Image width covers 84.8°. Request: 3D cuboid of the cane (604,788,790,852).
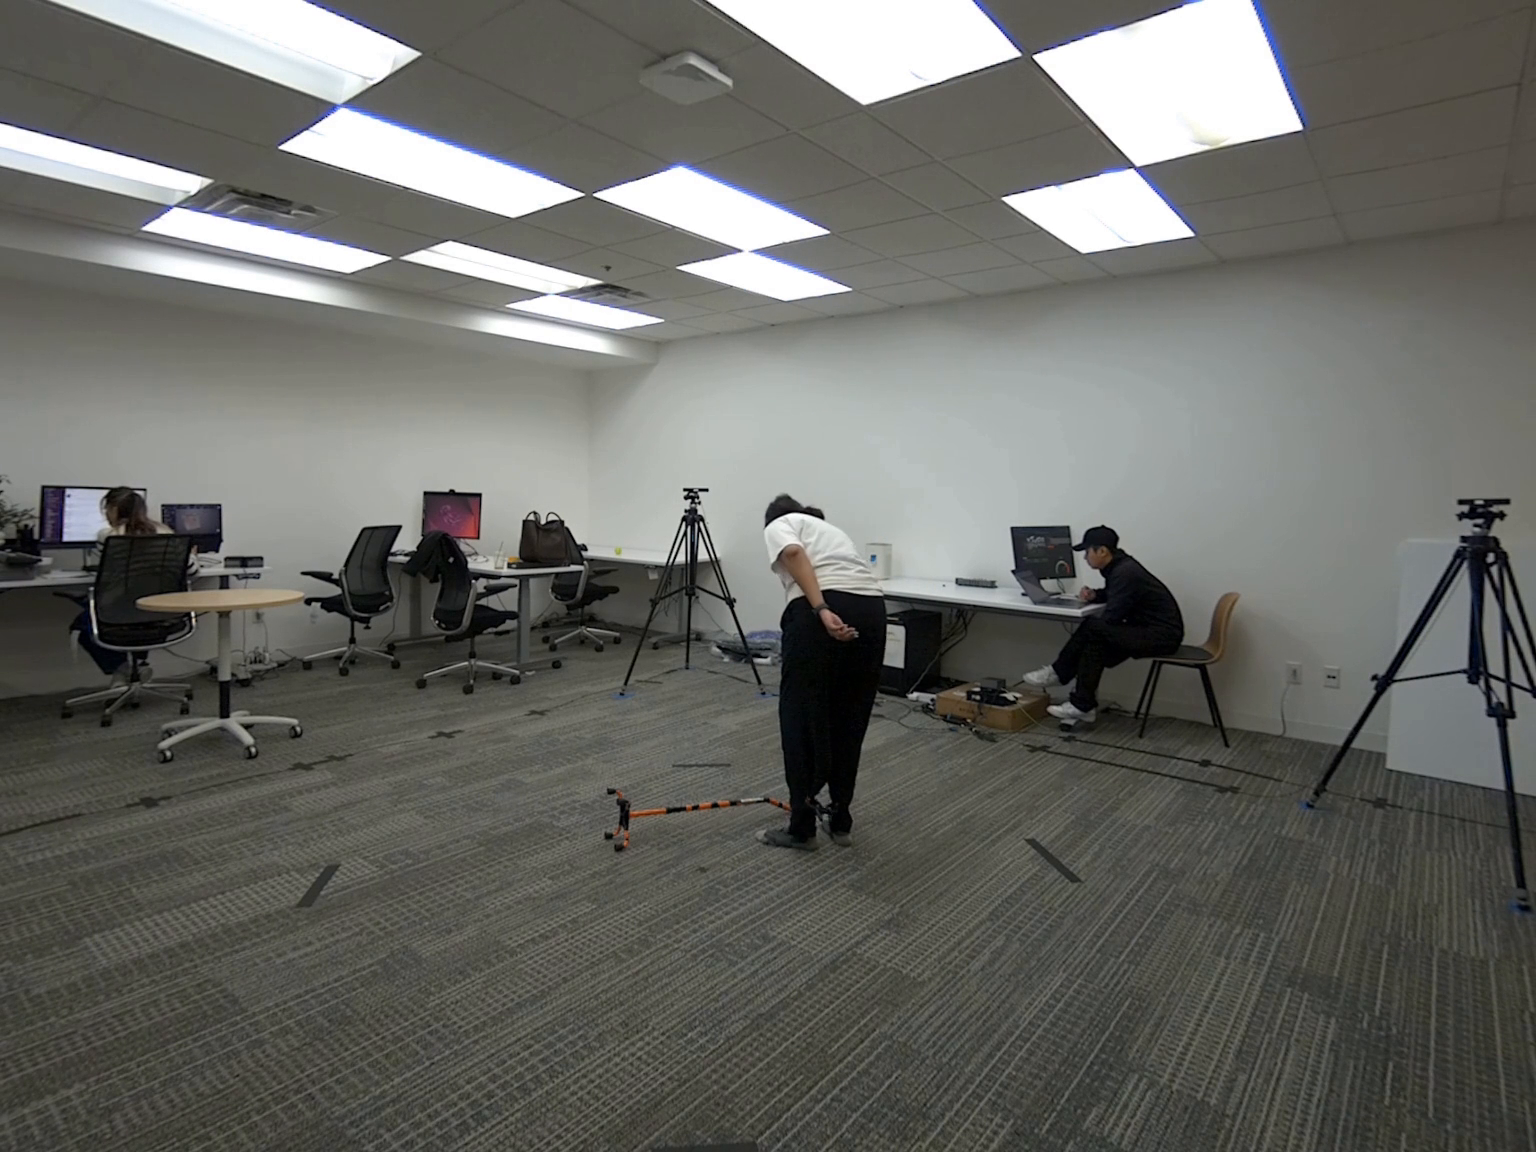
[{"bbox_3d":[-0.229,0.939,3.494,0.885,0.206,0.155,1,0,-26],"label":"cane"}]
